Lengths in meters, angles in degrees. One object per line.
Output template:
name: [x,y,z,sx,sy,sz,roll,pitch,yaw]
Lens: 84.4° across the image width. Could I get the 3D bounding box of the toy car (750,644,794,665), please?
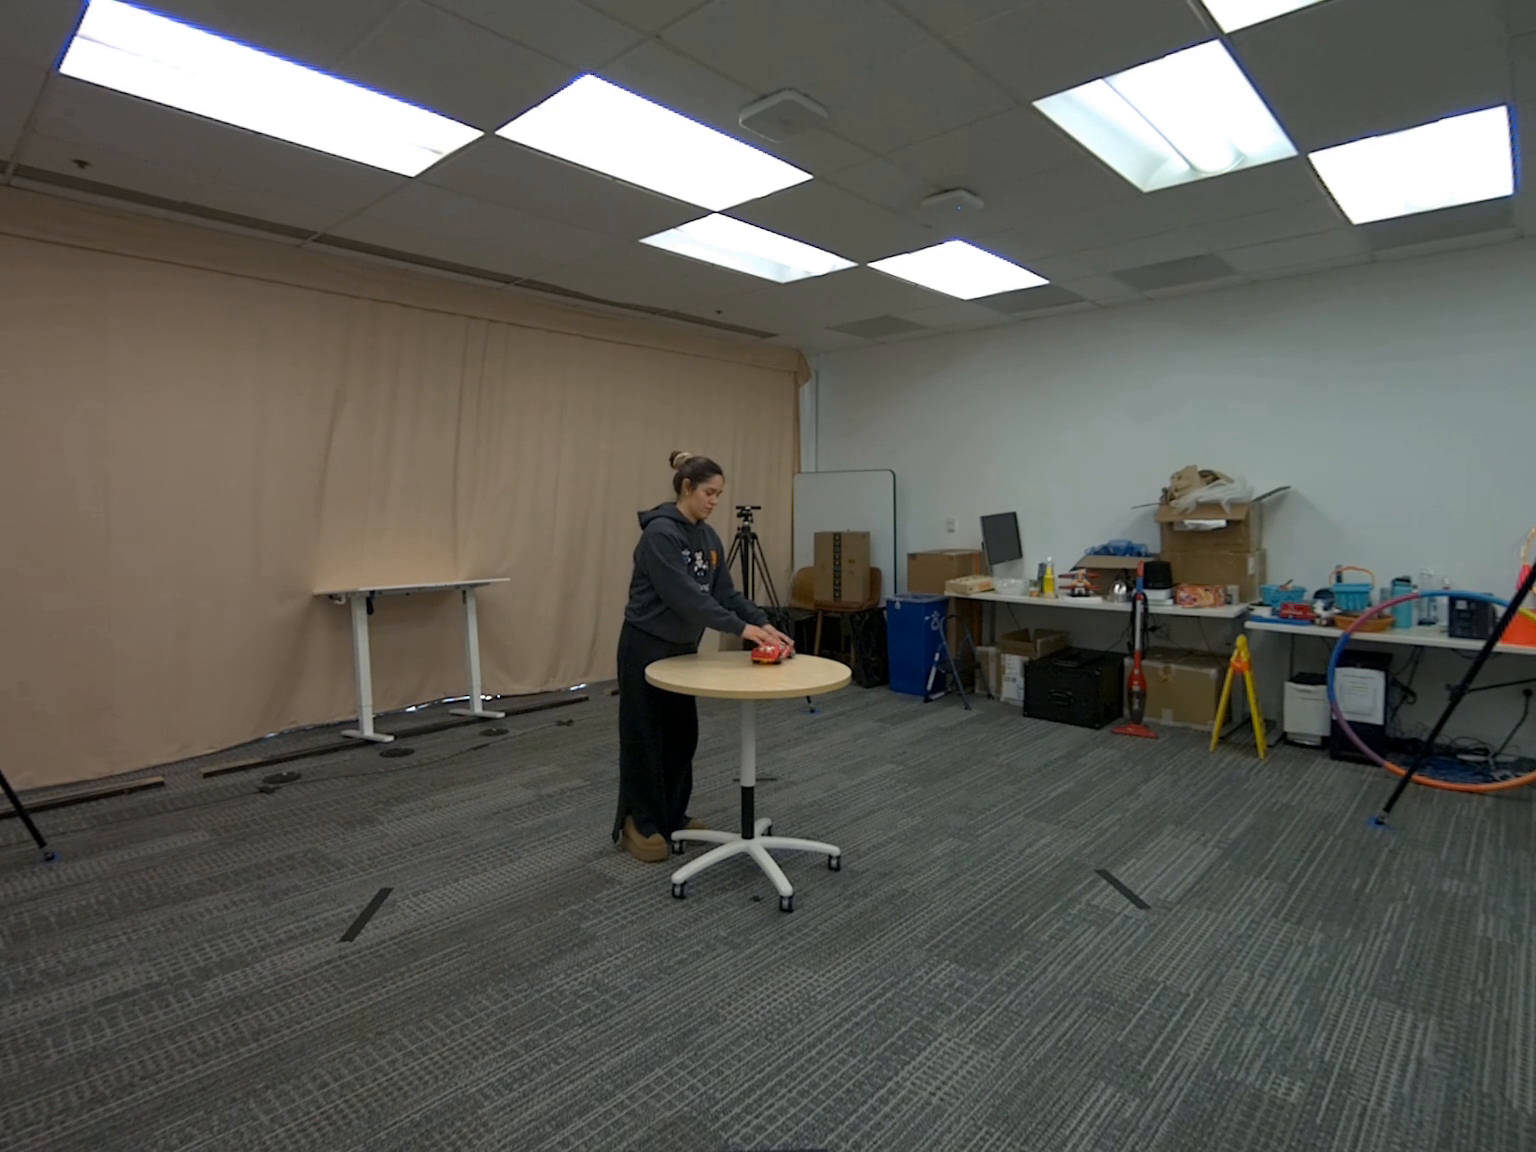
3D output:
toy car: [0.036,0.302,3.293,0.133,0.083,0.248,2,-6,22]
